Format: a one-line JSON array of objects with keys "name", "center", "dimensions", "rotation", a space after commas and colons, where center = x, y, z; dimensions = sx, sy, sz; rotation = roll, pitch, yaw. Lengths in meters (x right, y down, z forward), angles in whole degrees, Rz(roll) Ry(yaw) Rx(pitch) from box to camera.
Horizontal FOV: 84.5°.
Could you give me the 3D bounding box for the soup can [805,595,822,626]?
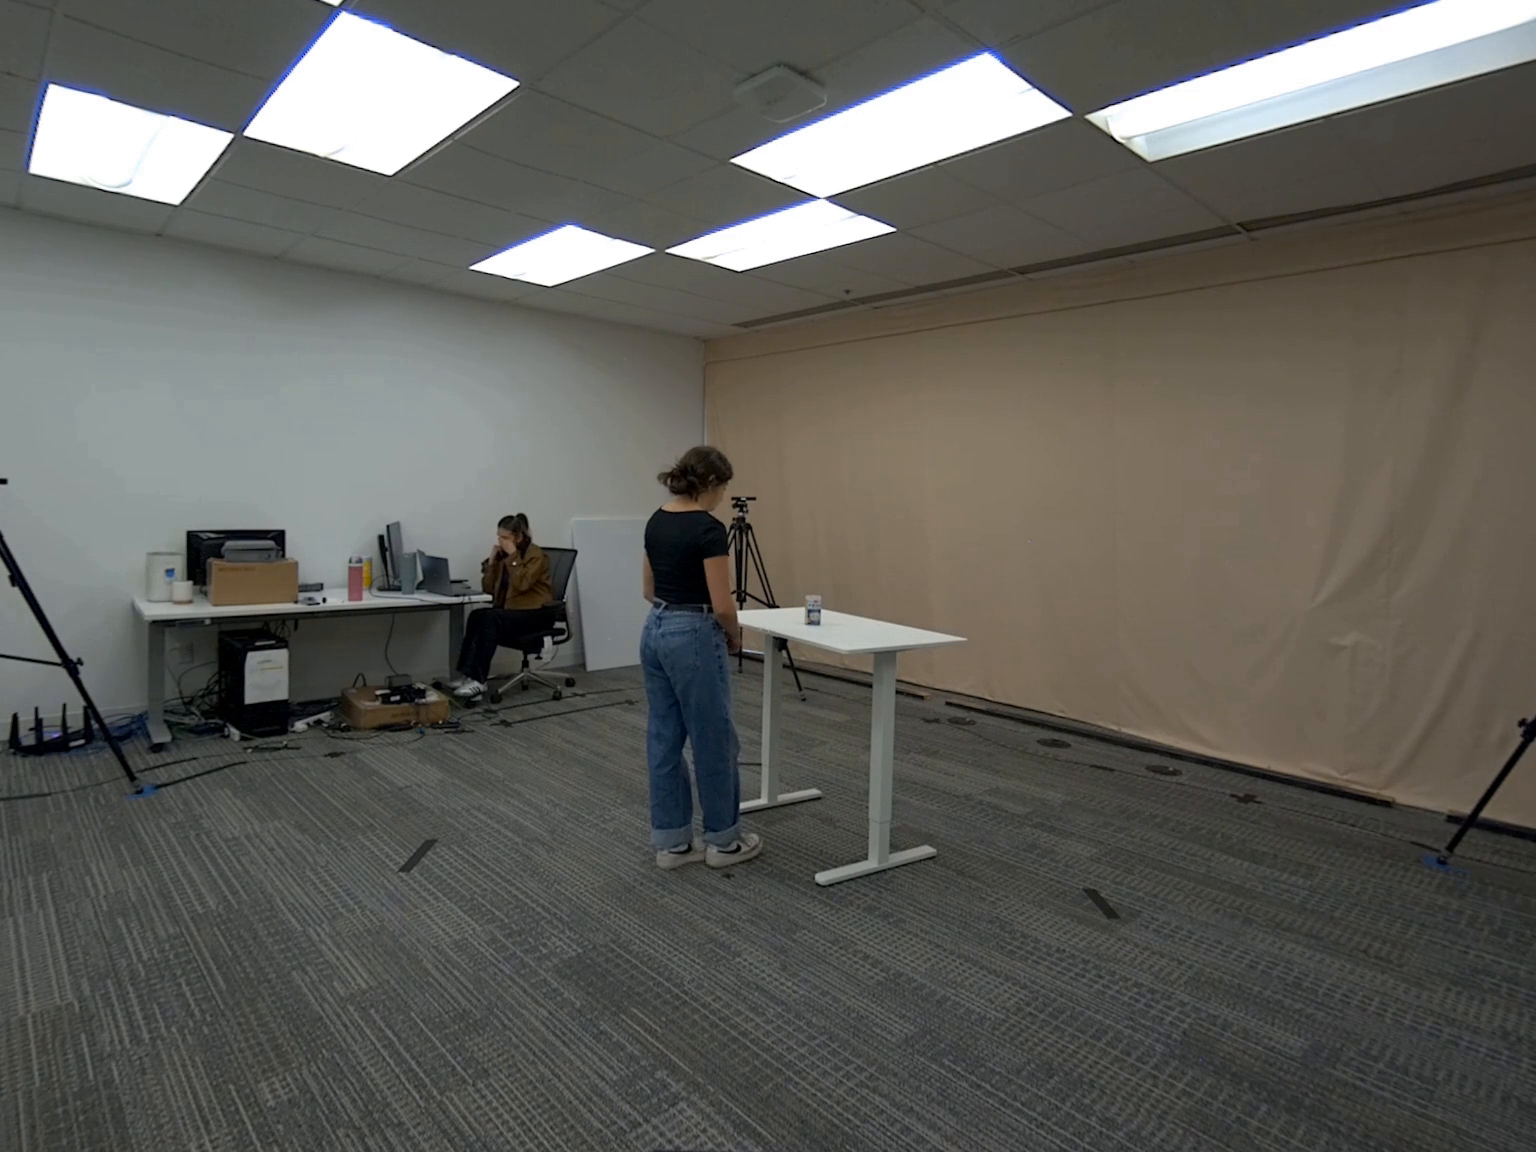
[{"name": "soup can", "center": [0.184, 0.144, 3.474], "dimensions": [0.067, 0.121, 0.067], "rotation": [2, 5, -2]}]
